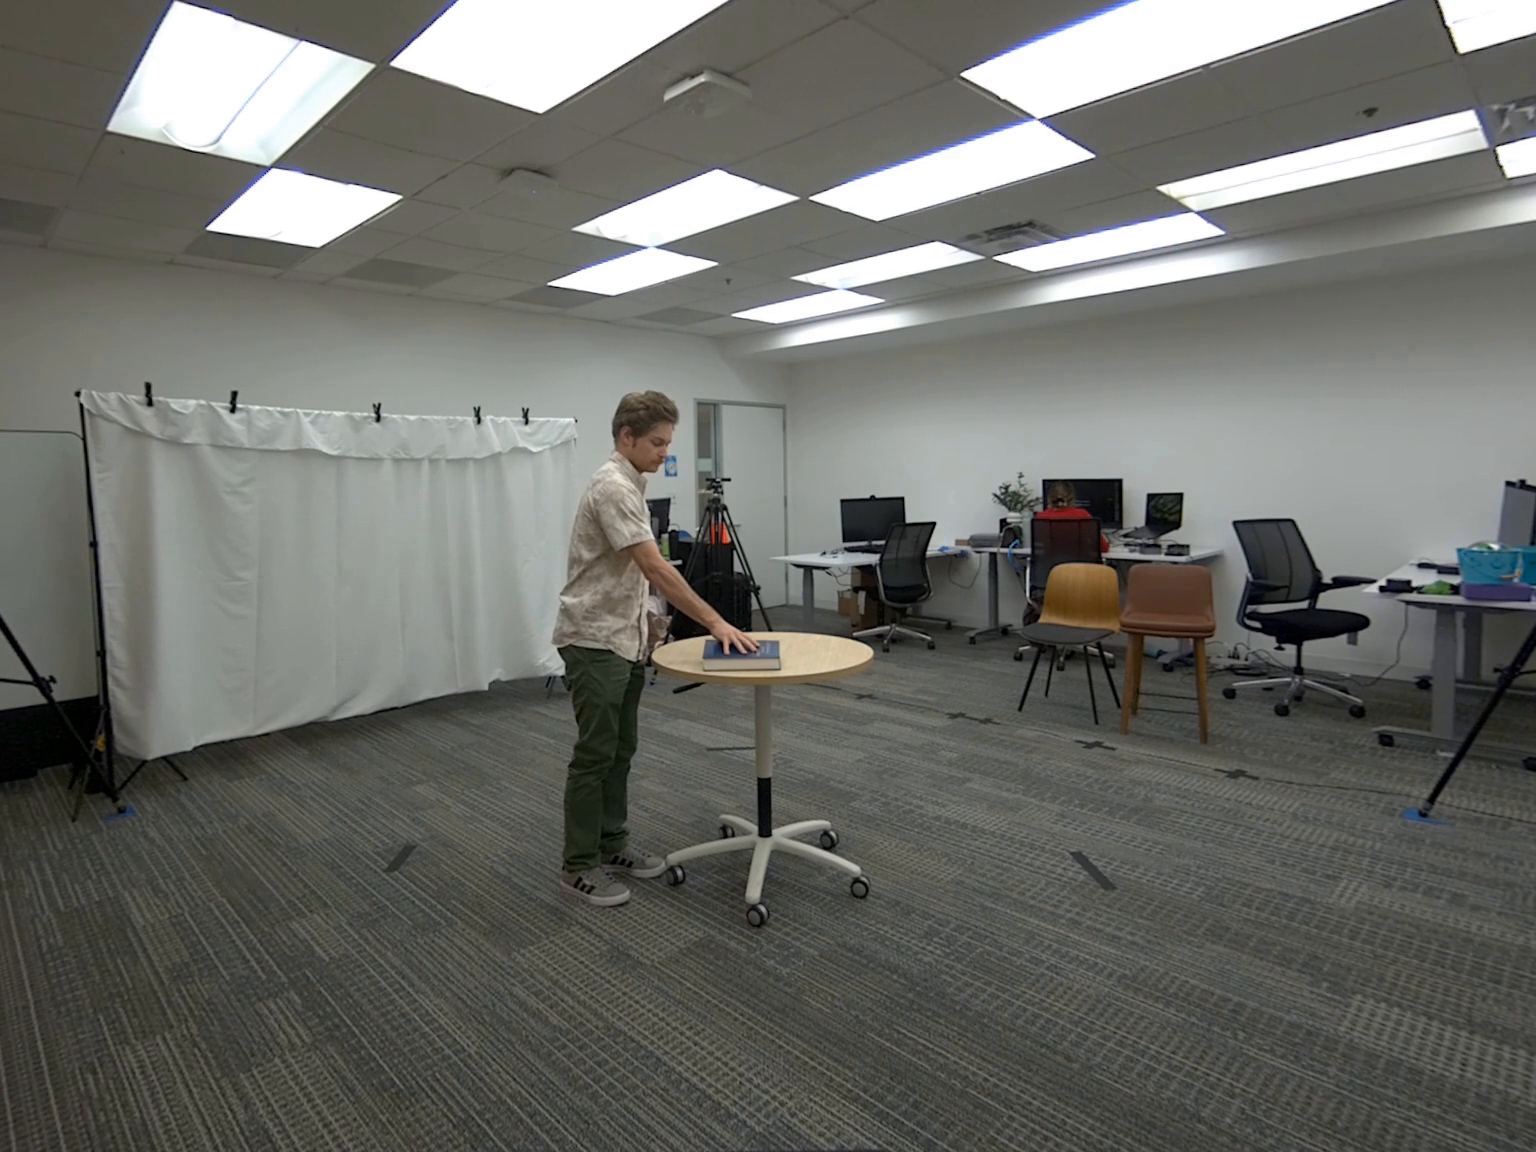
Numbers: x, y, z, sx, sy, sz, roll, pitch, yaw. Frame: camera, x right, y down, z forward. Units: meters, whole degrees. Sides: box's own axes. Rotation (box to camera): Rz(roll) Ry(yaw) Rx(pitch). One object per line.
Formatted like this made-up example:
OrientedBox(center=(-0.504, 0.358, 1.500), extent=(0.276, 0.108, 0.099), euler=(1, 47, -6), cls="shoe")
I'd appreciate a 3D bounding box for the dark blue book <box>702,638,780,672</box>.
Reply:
OrientedBox(center=(-0.086, 0.253, 2.745), extent=(0.245, 0.044, 0.165), euler=(0, 16, 1), cls="dark blue book")
